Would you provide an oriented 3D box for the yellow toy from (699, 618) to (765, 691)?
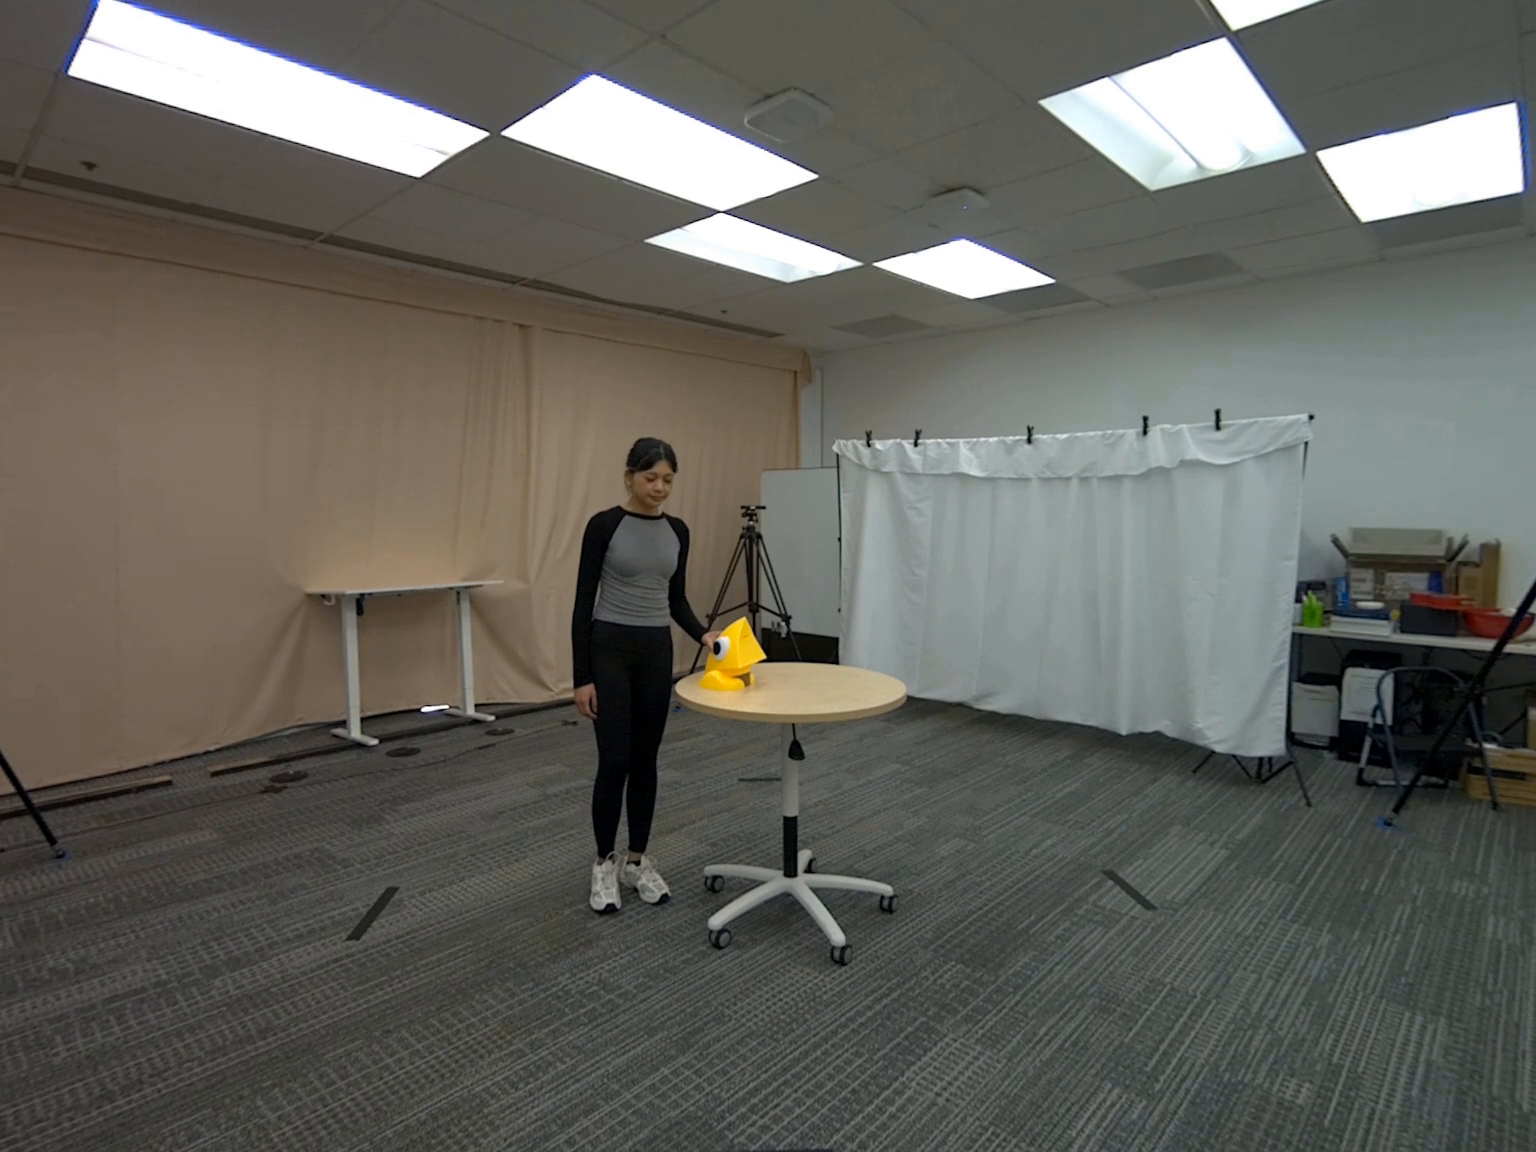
[{"bbox_3d":[-0.126,0.254,2.841,0.198,0.230,0.200,1,5,26],"label":"yellow toy"}]
